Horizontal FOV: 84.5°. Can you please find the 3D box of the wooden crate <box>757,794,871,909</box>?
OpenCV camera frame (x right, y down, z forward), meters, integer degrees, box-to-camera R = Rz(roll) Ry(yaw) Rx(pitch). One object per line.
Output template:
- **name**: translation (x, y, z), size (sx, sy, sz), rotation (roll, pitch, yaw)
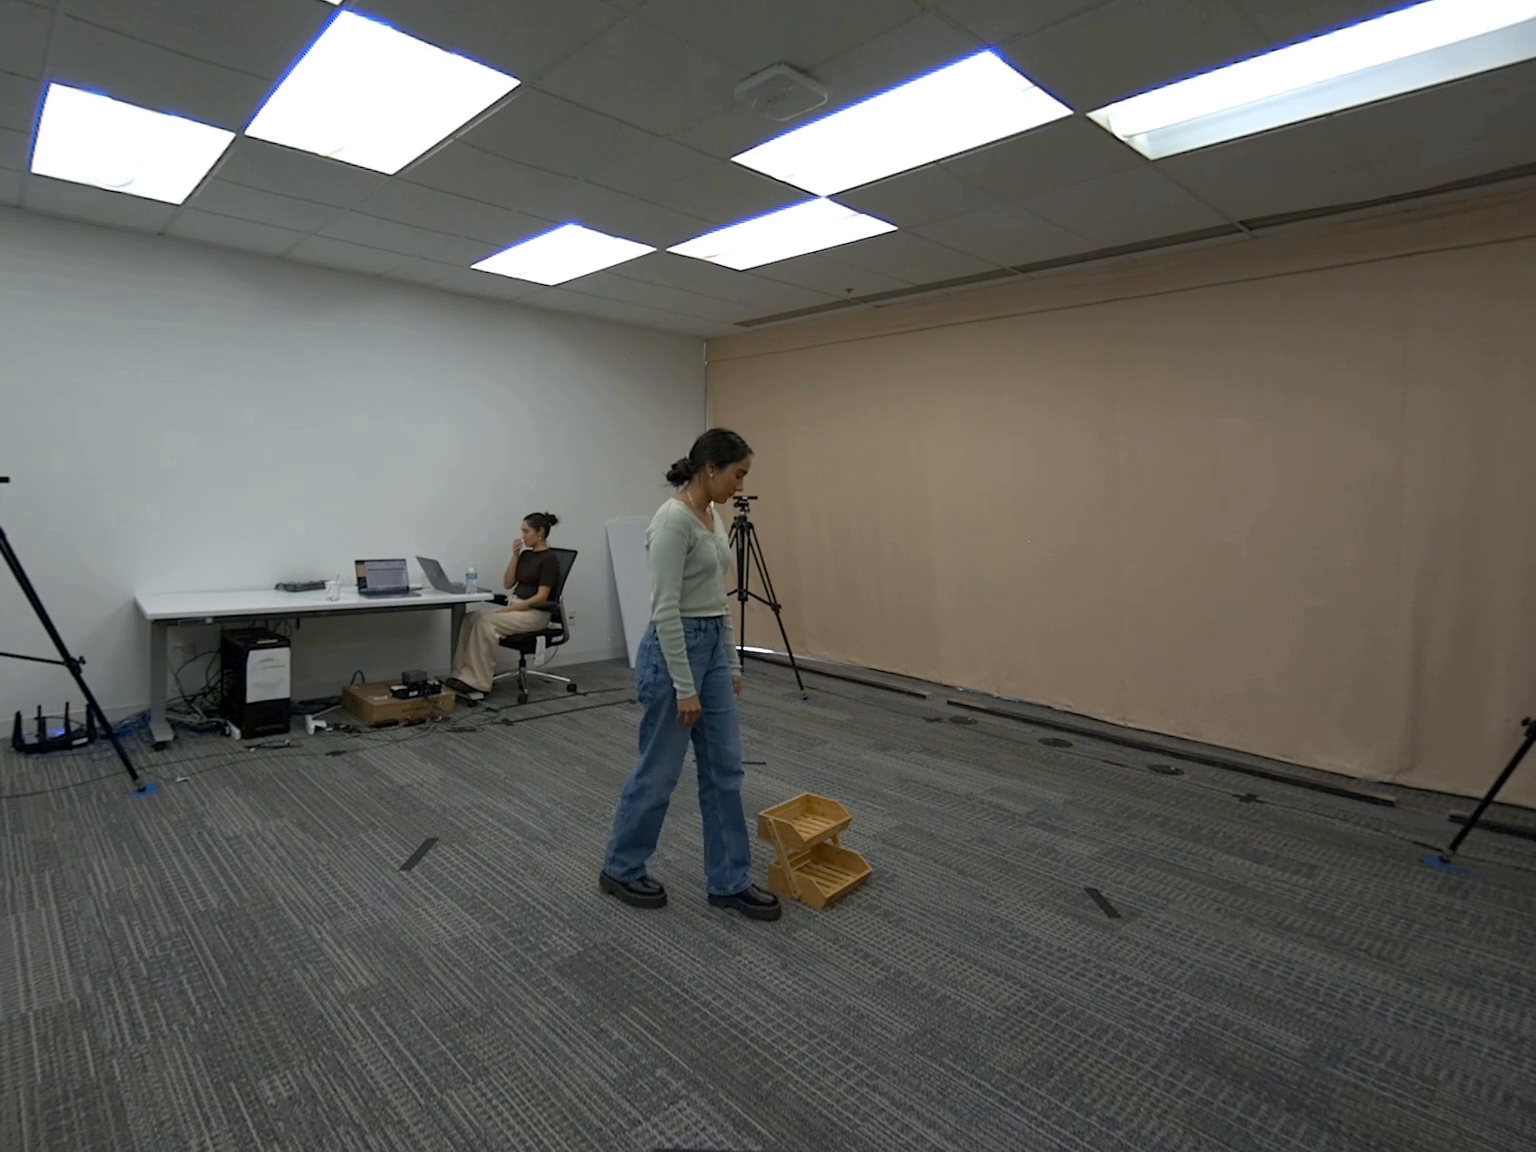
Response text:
- **wooden crate**: translation (0.168, 0.980, 3.041), size (0.309, 0.273, 0.317), rotation (3, 5, 39)
